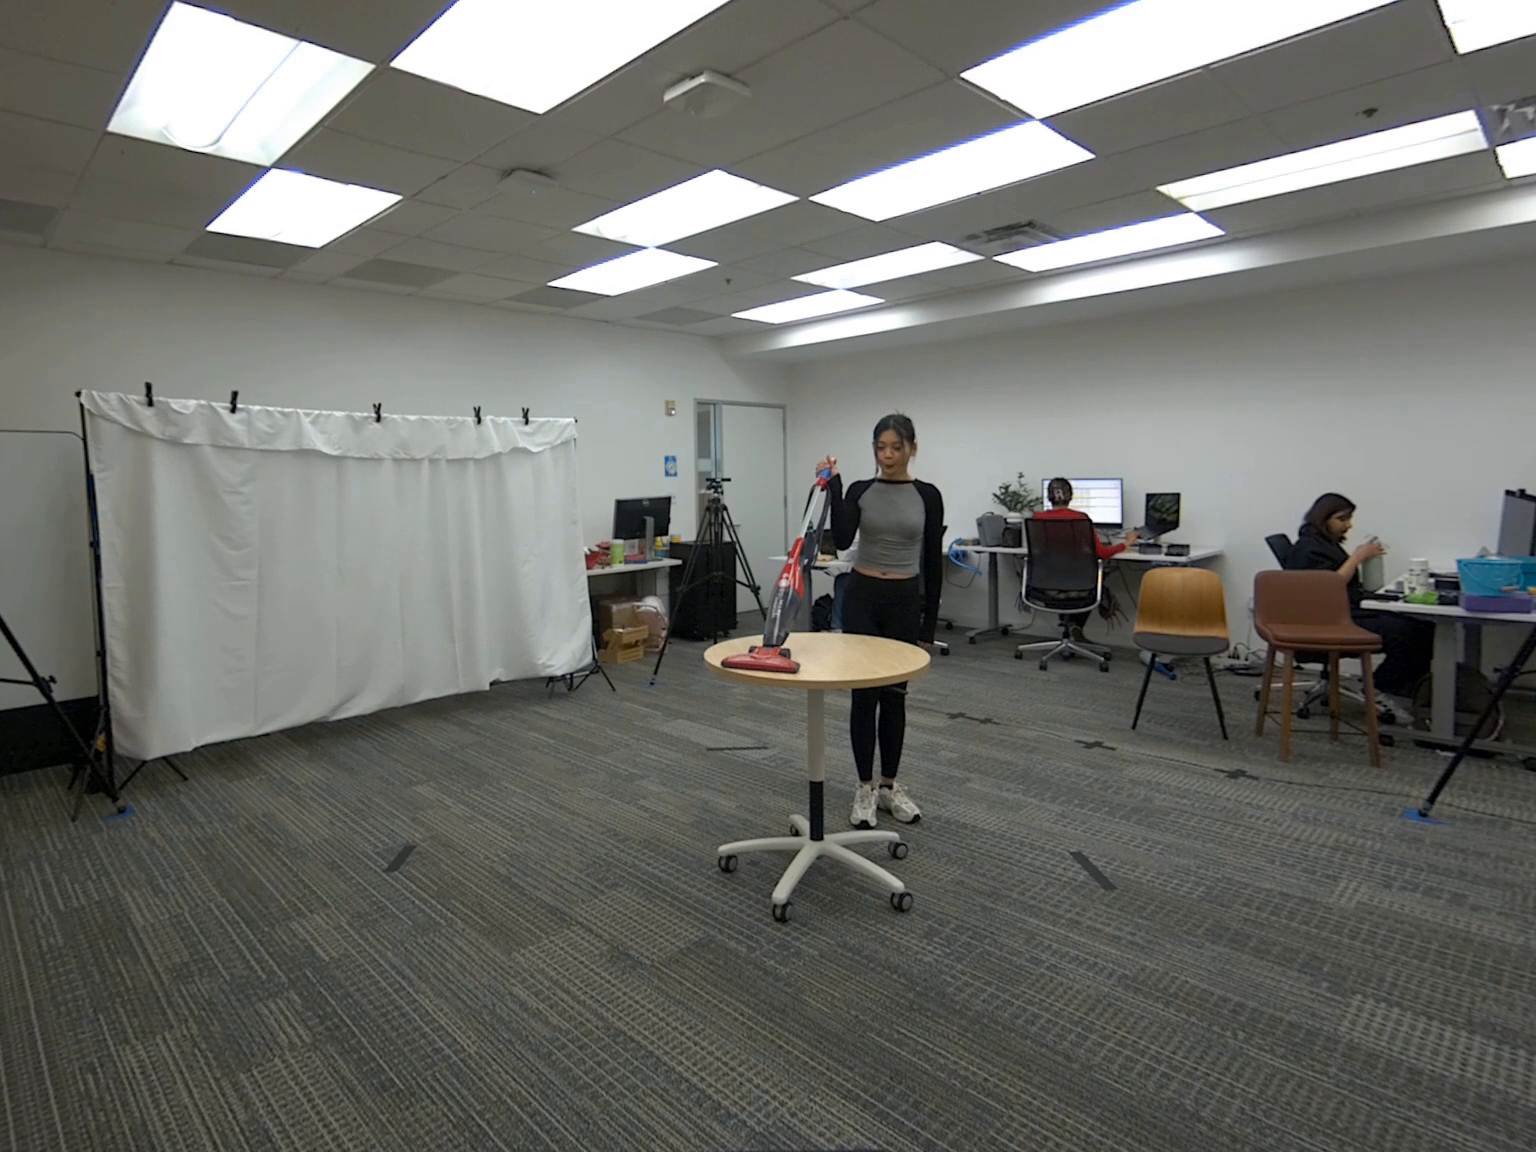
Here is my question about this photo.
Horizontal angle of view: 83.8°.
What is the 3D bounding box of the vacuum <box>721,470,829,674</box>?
[{"bbox_3d":[0.125,-0.087,3.080,0.258,0.139,1.064,-2,42,23],"label":"vacuum"}]
